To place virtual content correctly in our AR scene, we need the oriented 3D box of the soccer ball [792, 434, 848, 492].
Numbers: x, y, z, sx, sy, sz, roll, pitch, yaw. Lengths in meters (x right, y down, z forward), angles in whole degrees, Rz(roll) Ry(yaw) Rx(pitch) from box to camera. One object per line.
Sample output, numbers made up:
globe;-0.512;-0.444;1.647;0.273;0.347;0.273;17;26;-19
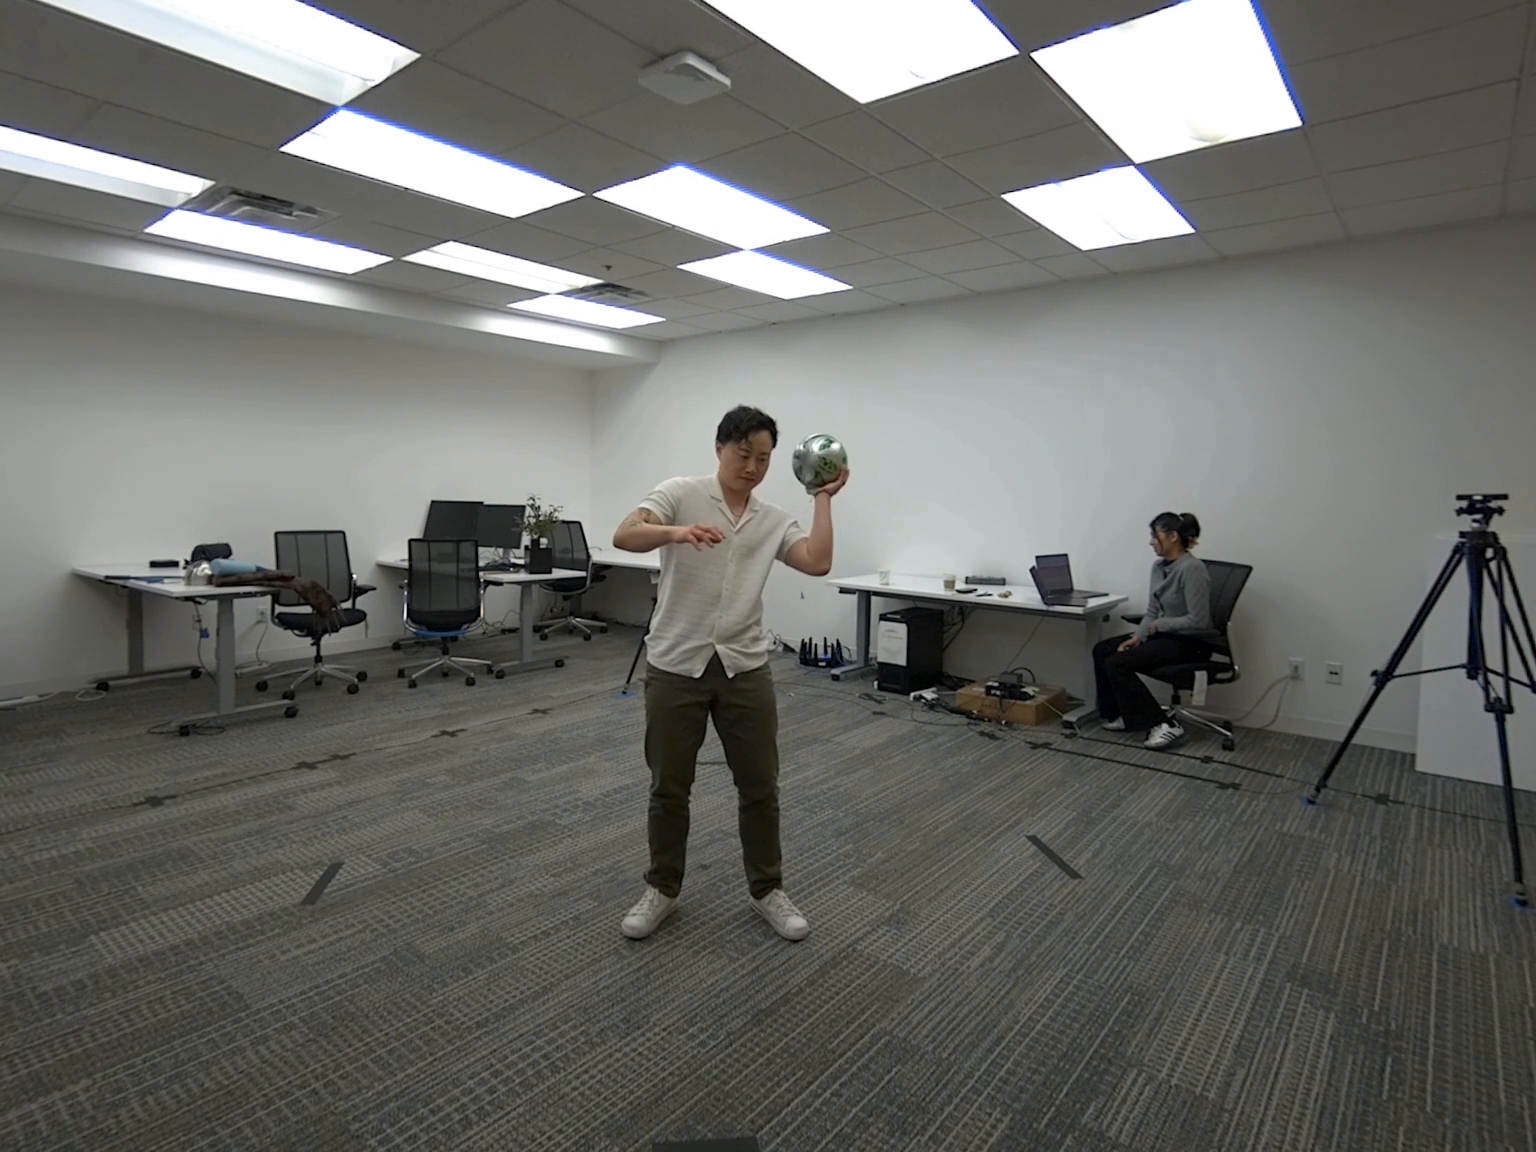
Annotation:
soccer ball;0.171;-0.376;2.851;0.187;0.187;0.188;1;4;-2
